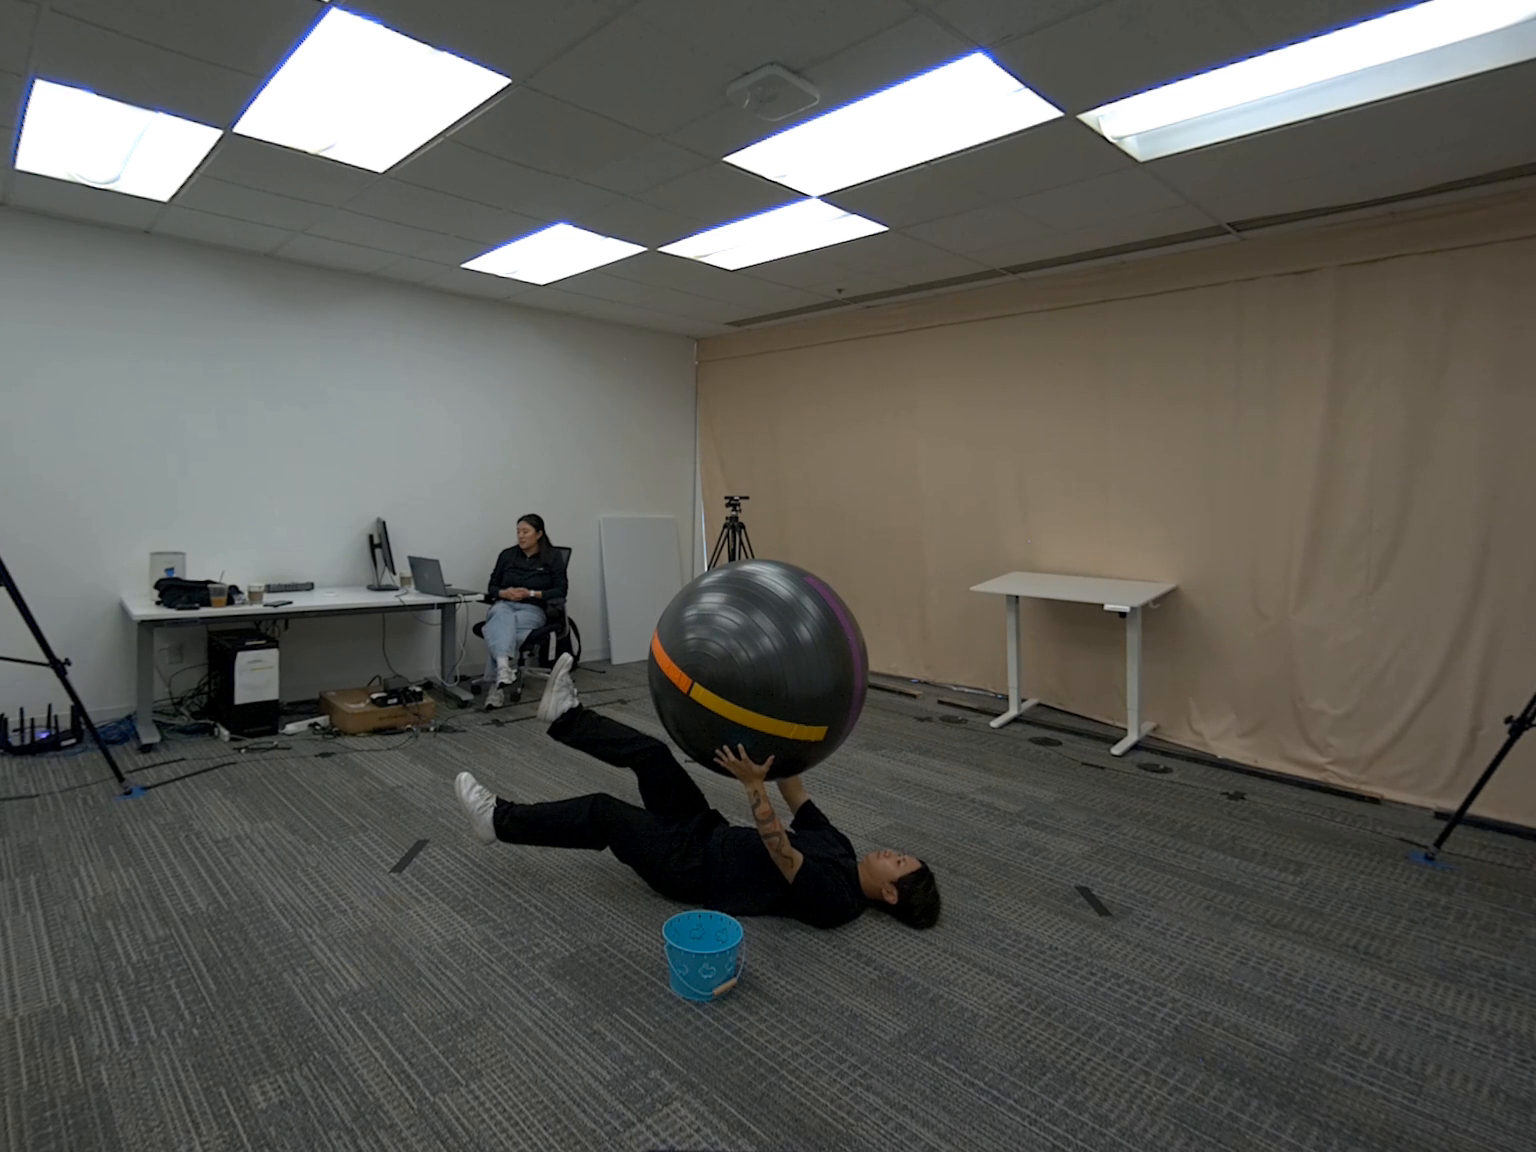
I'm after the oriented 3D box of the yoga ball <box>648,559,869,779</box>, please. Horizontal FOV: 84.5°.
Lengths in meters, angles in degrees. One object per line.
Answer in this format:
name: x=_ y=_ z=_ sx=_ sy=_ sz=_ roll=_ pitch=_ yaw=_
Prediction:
yoga ball: x=-0.034 y=0.329 z=2.919 sx=0.757 sy=0.756 sz=0.761 roll=1 pitch=4 yaw=-1
